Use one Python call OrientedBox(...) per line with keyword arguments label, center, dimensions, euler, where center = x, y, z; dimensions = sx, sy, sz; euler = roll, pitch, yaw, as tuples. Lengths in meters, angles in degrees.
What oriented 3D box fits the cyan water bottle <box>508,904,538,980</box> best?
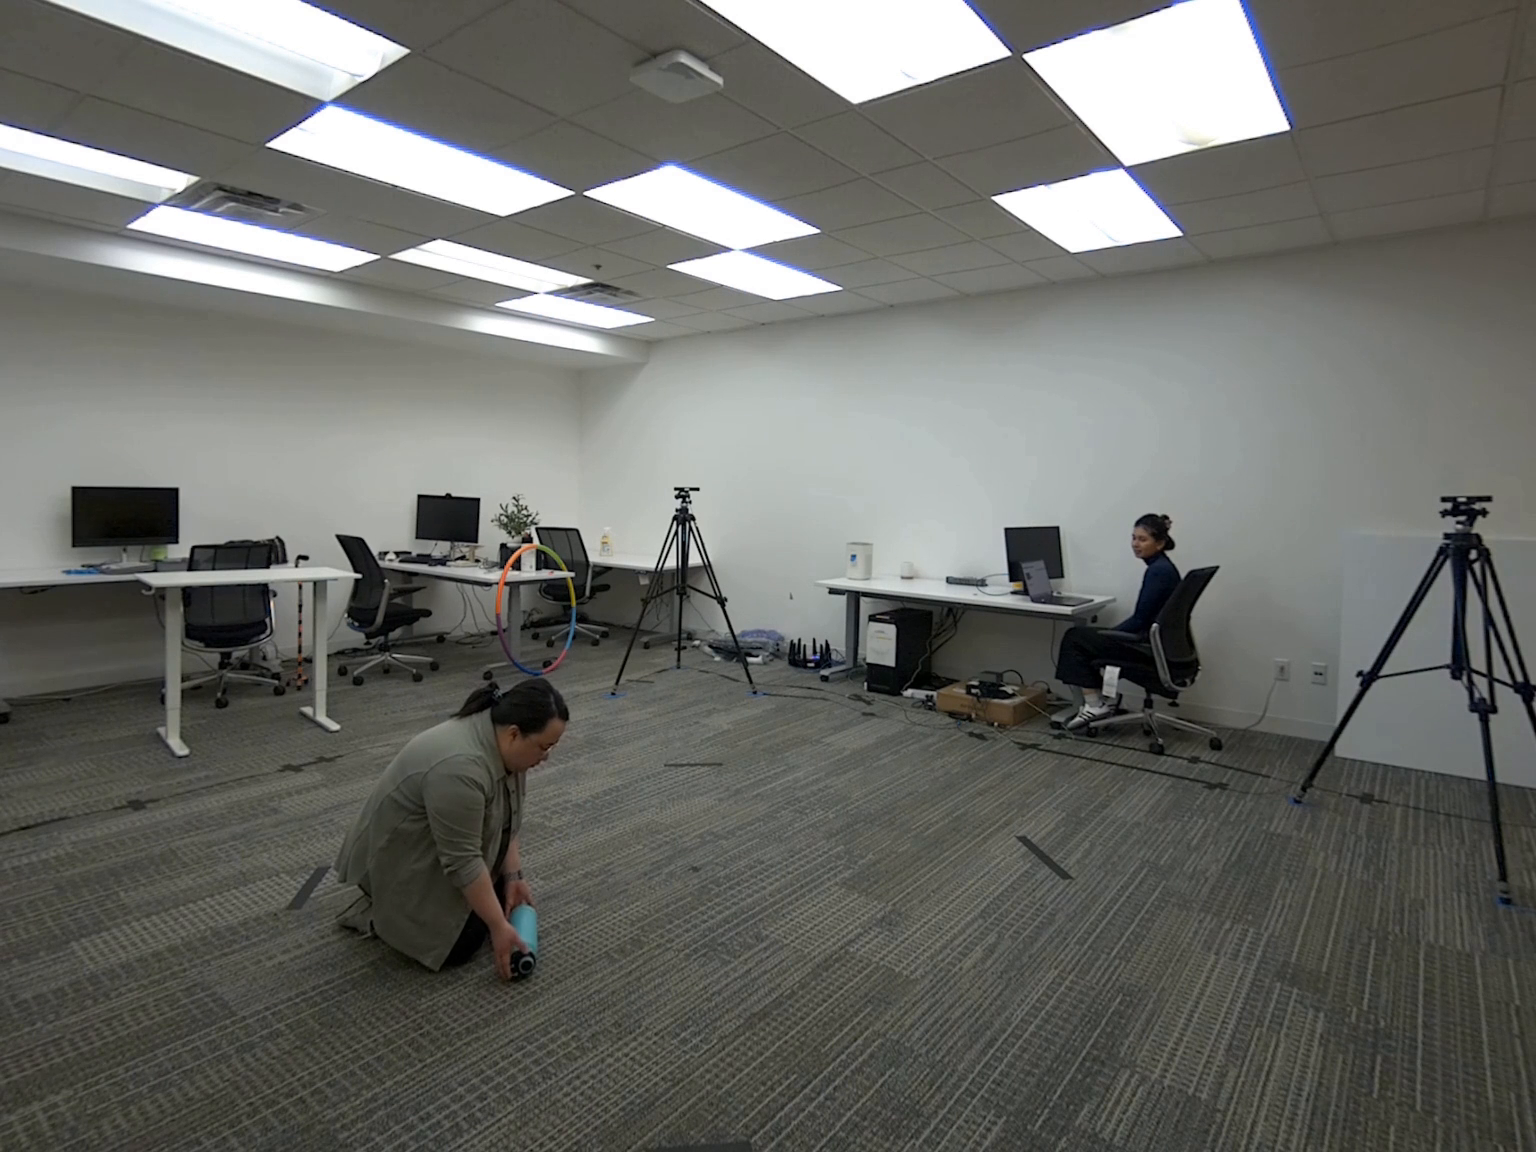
OrientedBox(label="cyan water bottle", center=(-0.728, 1.079, 2.498), dimensions=(0.091, 0.092, 0.289), euler=(0, 8, -15))
